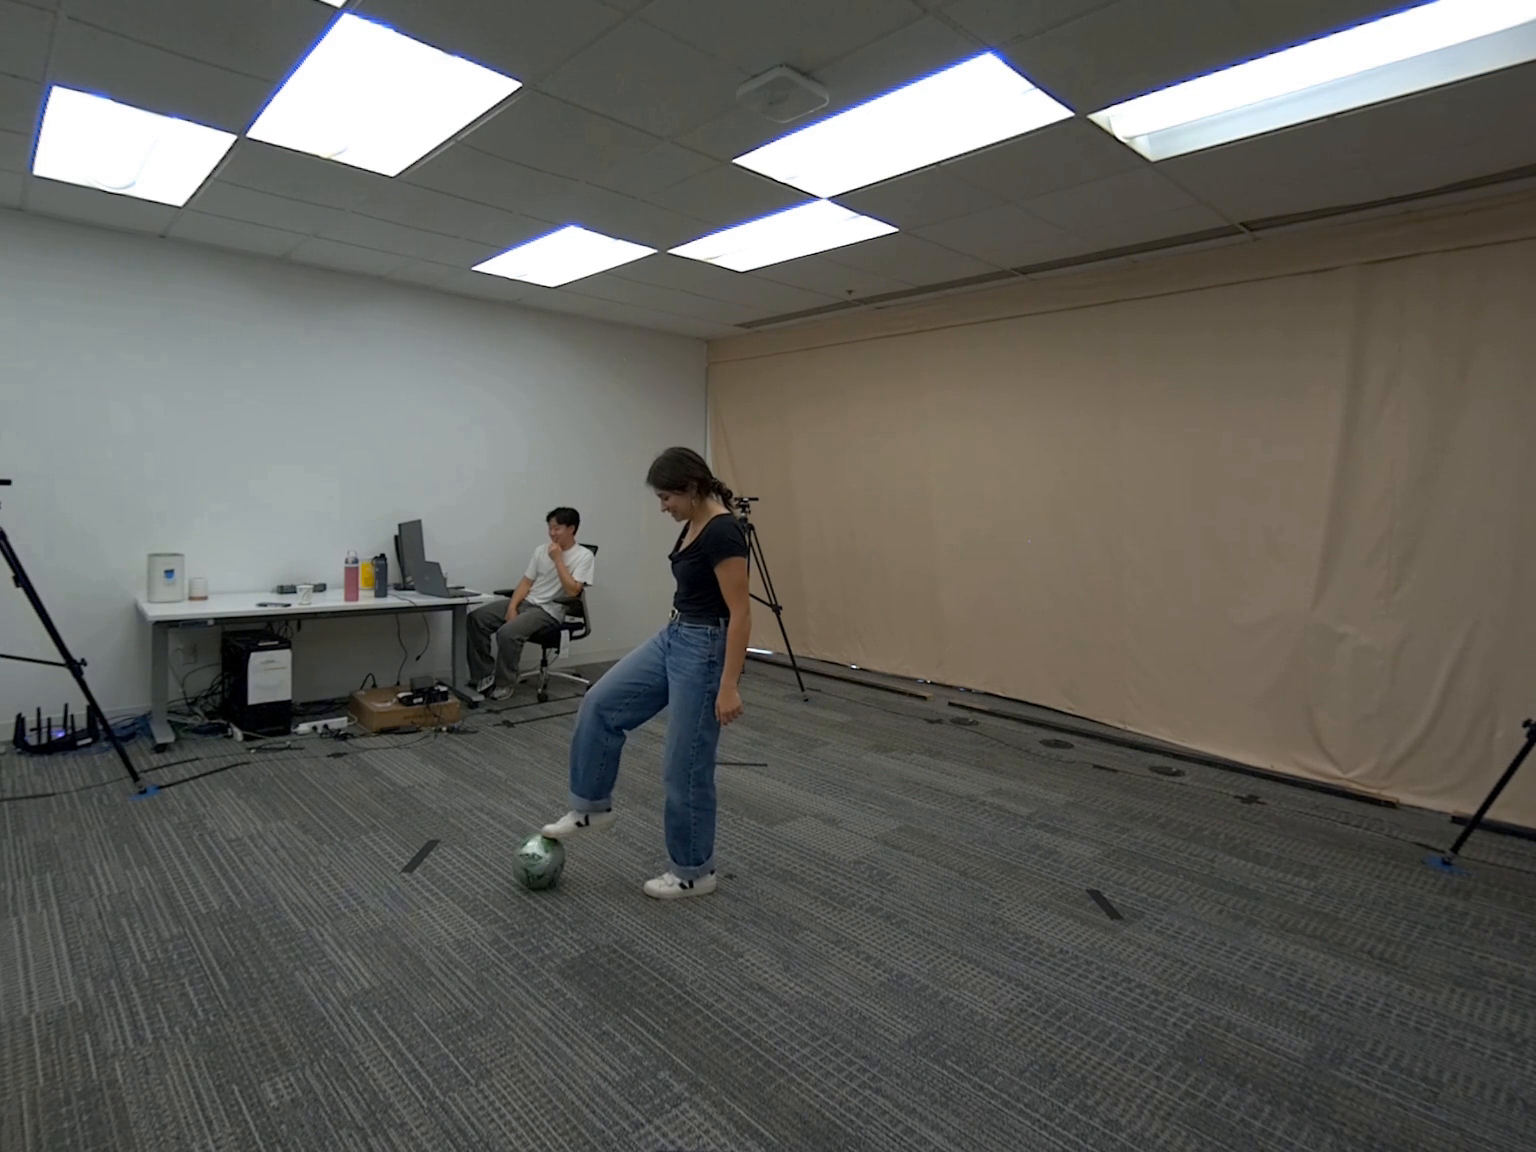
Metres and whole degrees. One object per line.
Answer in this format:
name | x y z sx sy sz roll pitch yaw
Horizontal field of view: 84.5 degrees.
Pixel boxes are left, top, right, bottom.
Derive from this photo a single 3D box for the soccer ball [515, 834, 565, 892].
soccer ball | -0.808 1.006 2.995 0.187 0.187 0.188 1 4 -1
